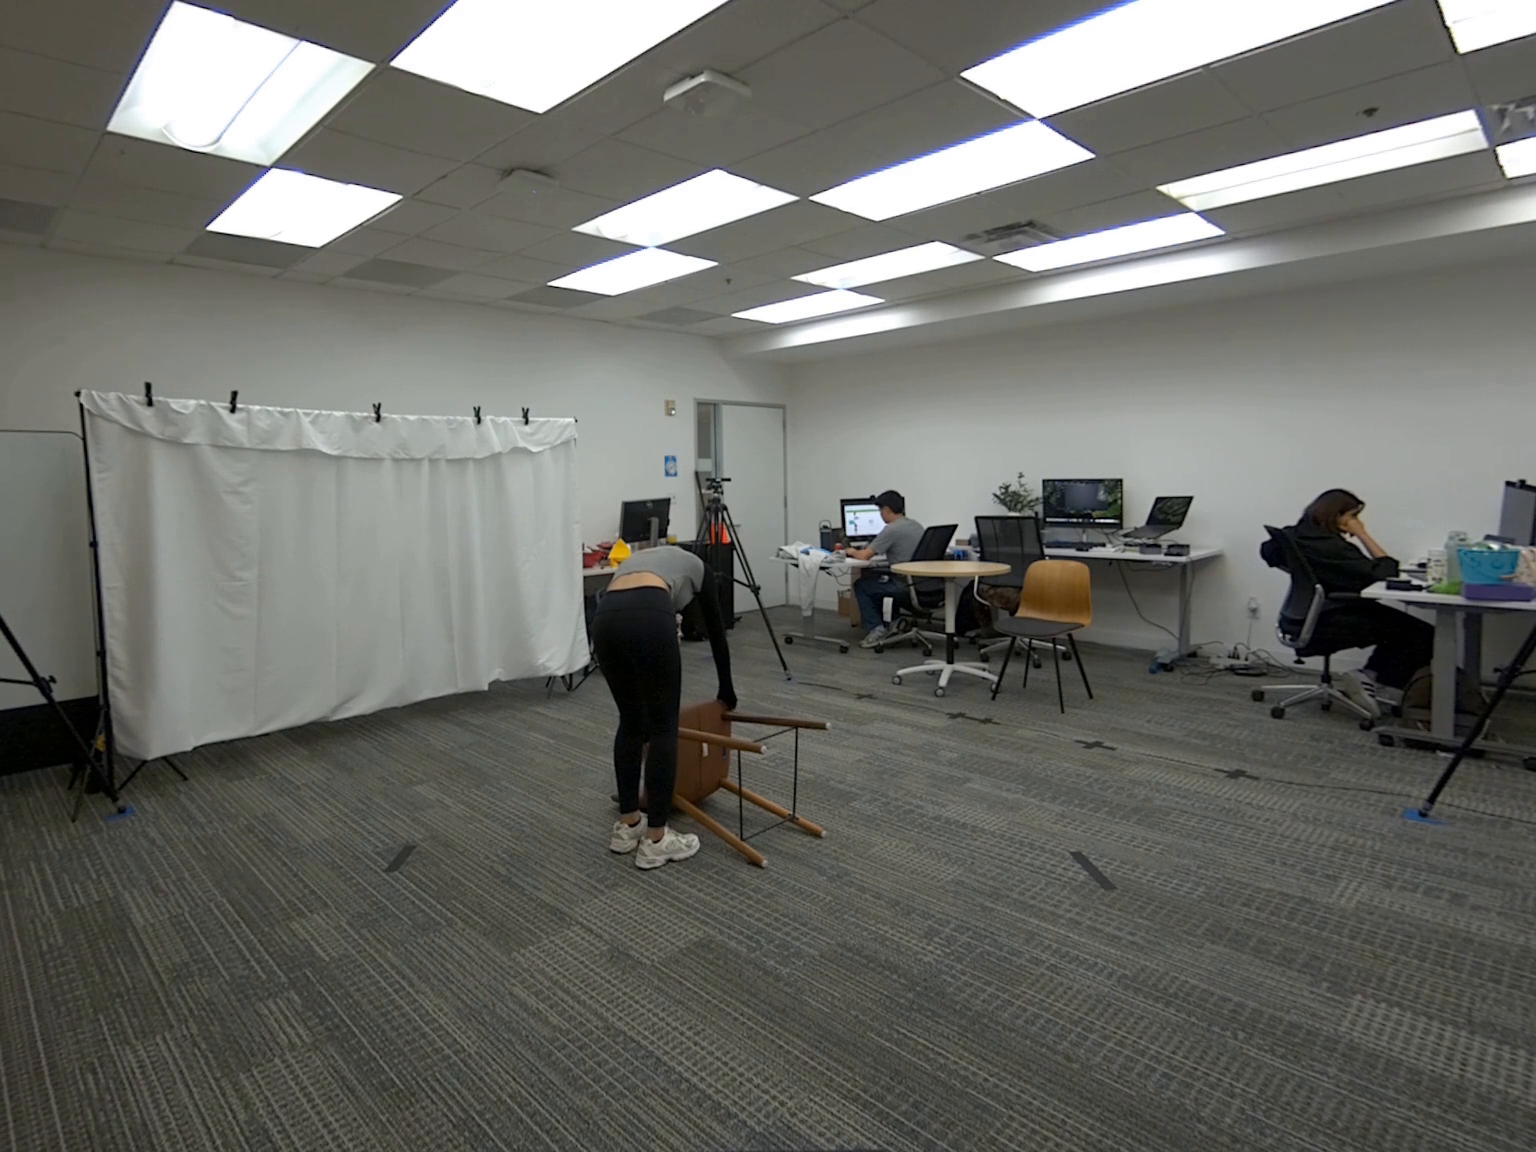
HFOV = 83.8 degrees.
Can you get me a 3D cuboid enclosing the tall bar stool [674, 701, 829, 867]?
[{"bbox_3d":[-0.219,0.775,3.477,0.917,0.466,0.445,4,7,43],"label":"tall bar stool"}]
